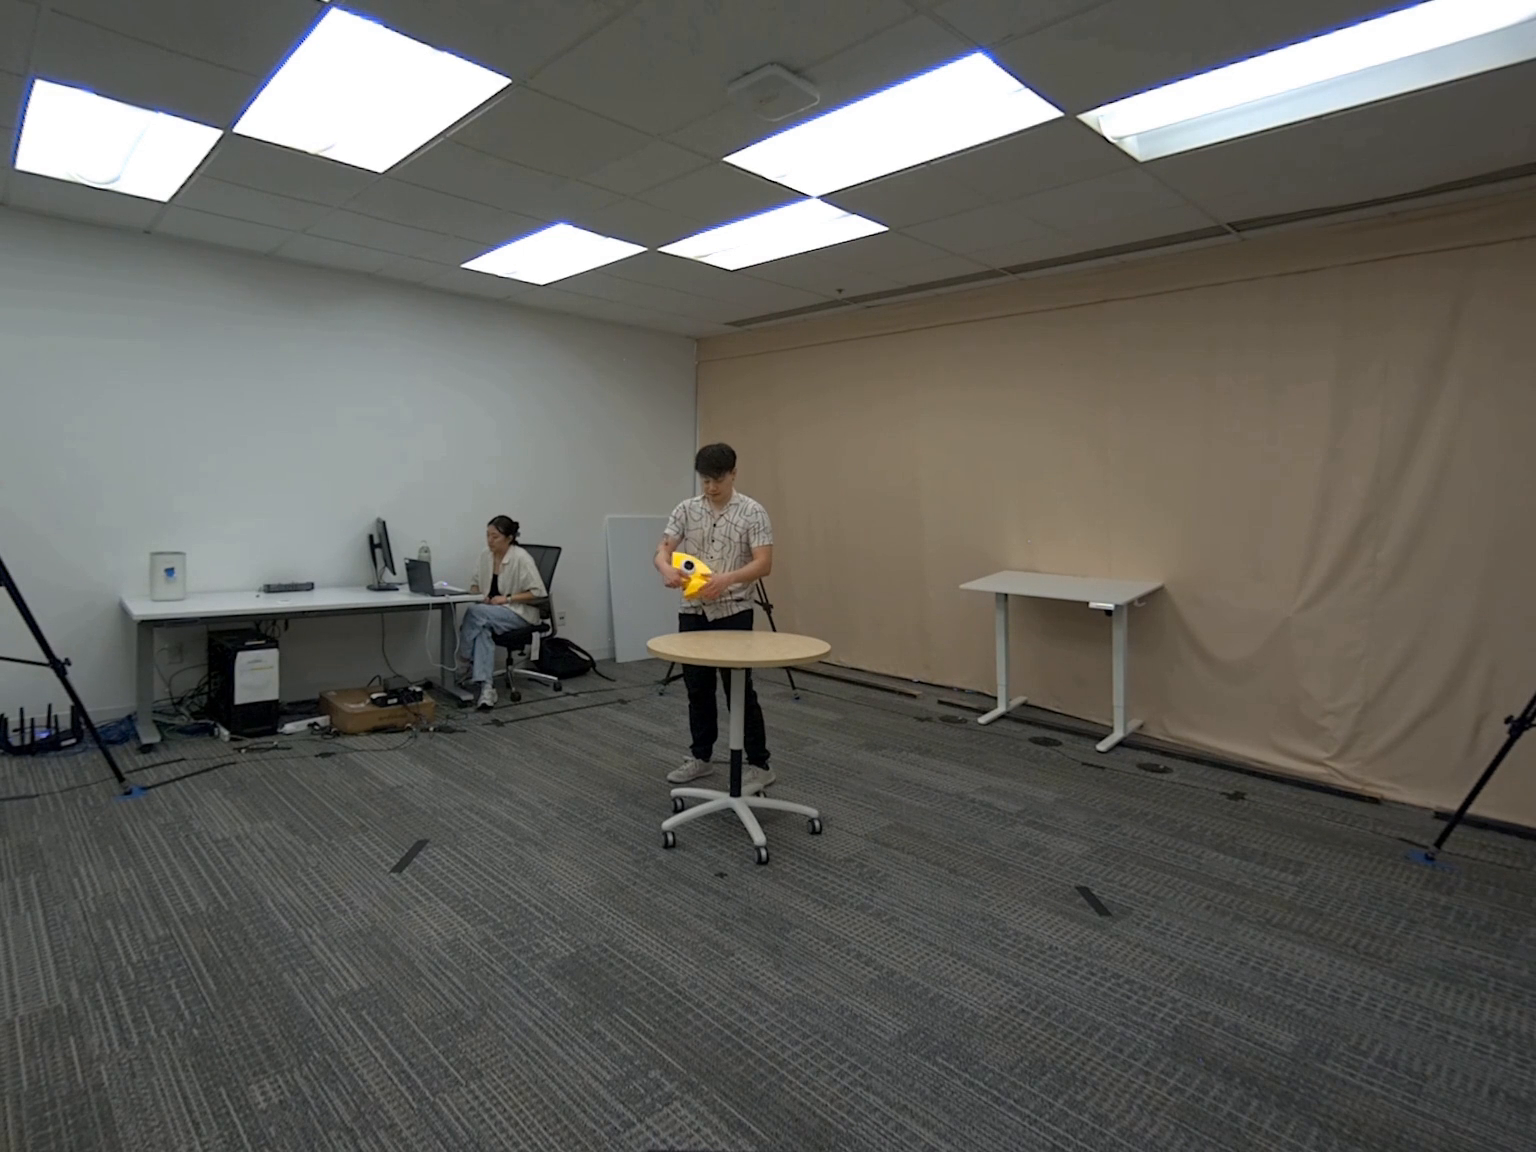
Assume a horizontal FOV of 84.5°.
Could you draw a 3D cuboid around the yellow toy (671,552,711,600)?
[{"bbox_3d":[-0.363,-0.029,3.921,0.194,0.233,0.201,-23,-11,14],"label":"yellow toy"}]
